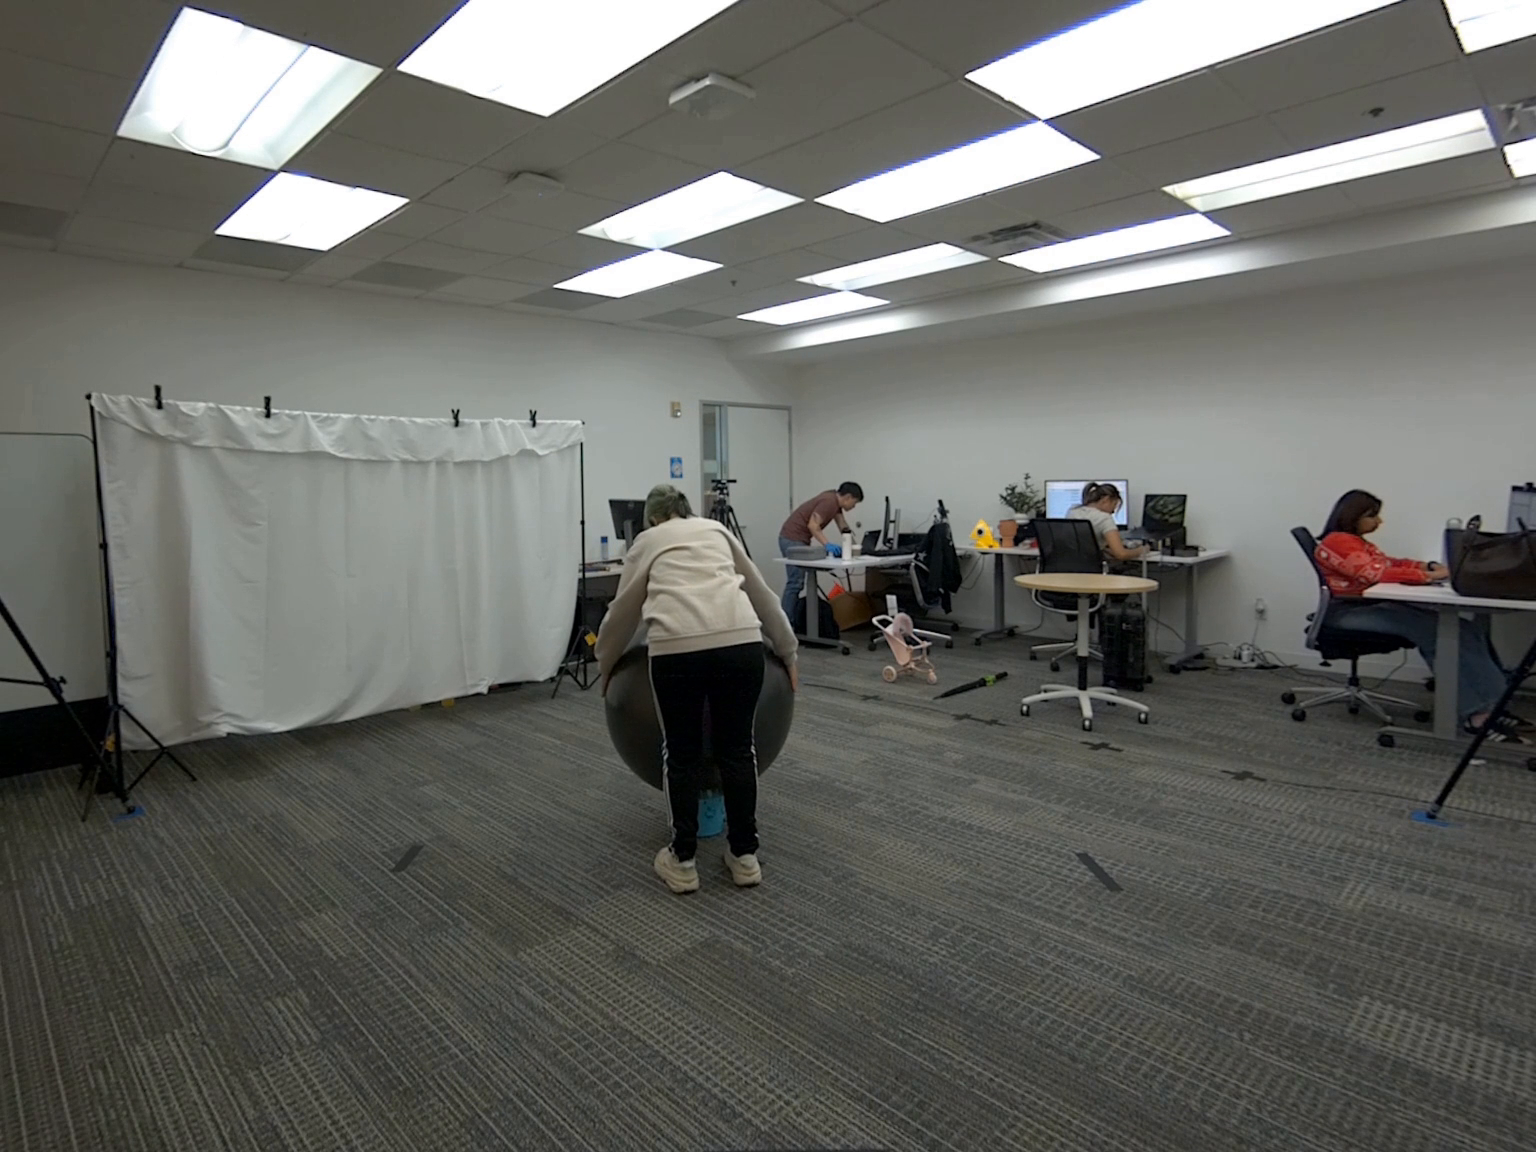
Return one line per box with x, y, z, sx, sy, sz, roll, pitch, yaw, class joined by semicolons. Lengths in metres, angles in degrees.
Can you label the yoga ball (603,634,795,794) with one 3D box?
-0.281;0.505;3.441;0.757;0.755;0.762;-1;5;-2;yoga ball
